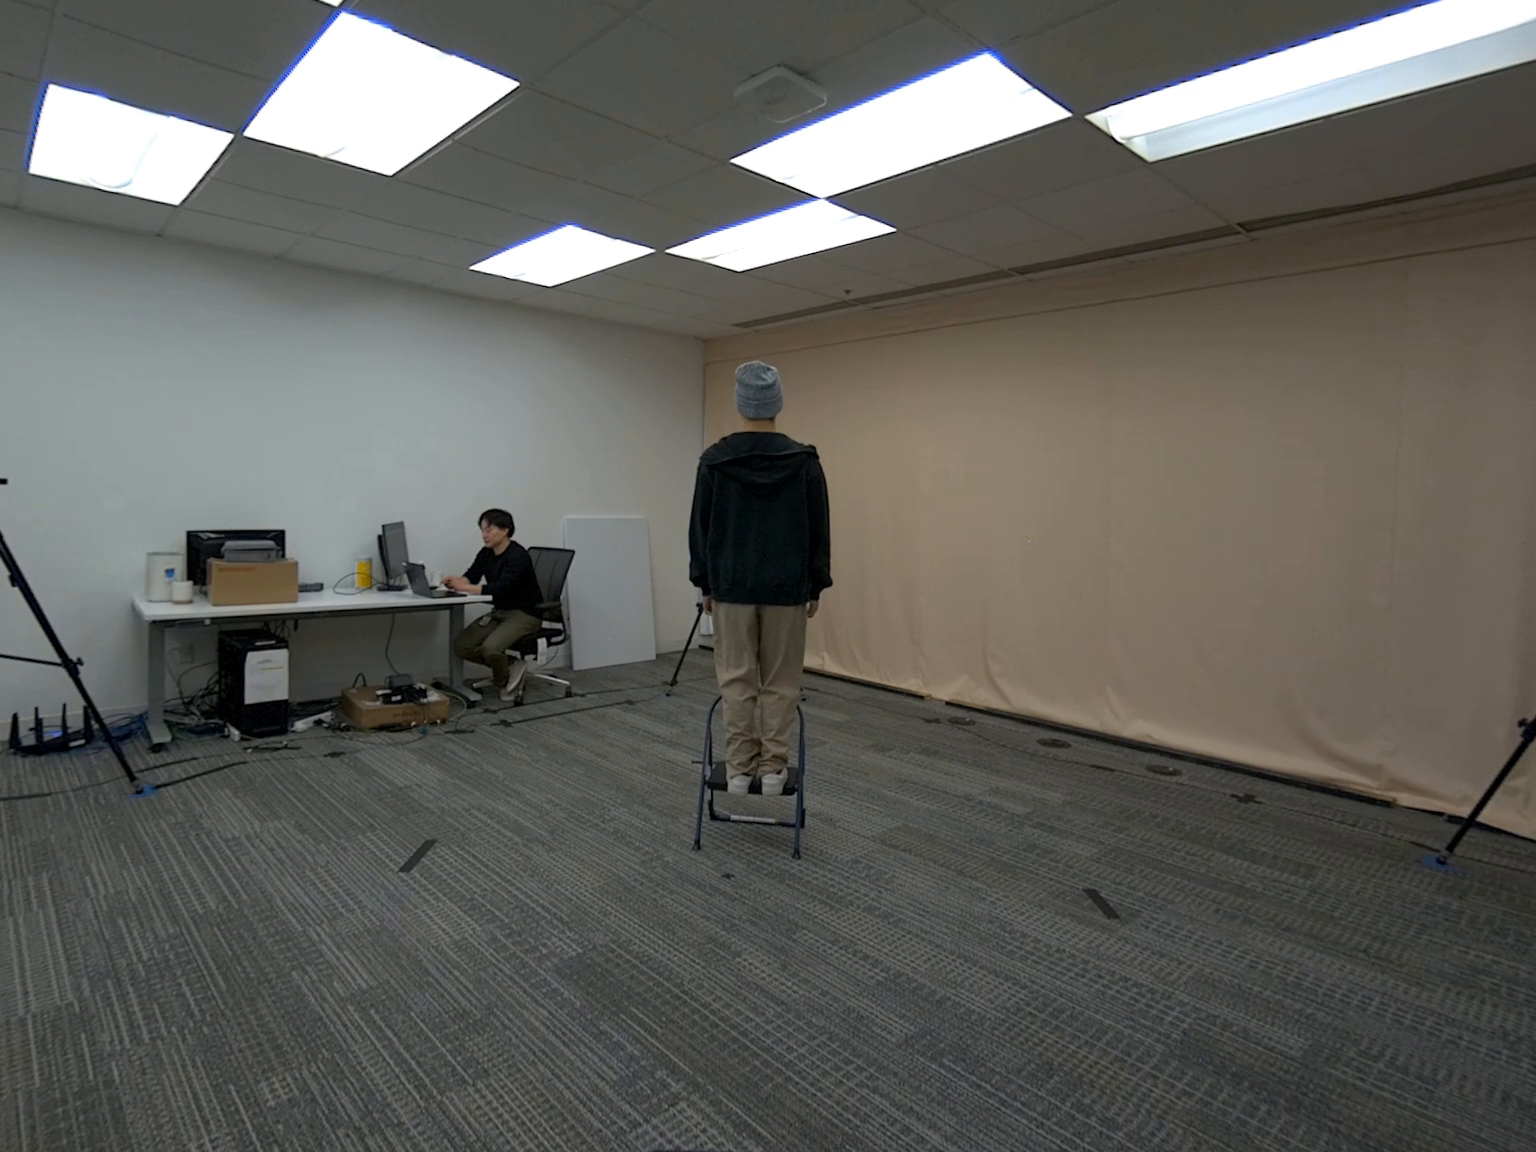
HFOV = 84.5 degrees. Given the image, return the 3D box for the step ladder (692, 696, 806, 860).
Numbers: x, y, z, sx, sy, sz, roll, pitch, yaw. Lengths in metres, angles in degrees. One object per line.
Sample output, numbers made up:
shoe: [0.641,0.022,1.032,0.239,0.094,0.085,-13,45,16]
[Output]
step ladder: [-0.067,0.781,3.455,0.433,0.604,0.348,2,4,7]
